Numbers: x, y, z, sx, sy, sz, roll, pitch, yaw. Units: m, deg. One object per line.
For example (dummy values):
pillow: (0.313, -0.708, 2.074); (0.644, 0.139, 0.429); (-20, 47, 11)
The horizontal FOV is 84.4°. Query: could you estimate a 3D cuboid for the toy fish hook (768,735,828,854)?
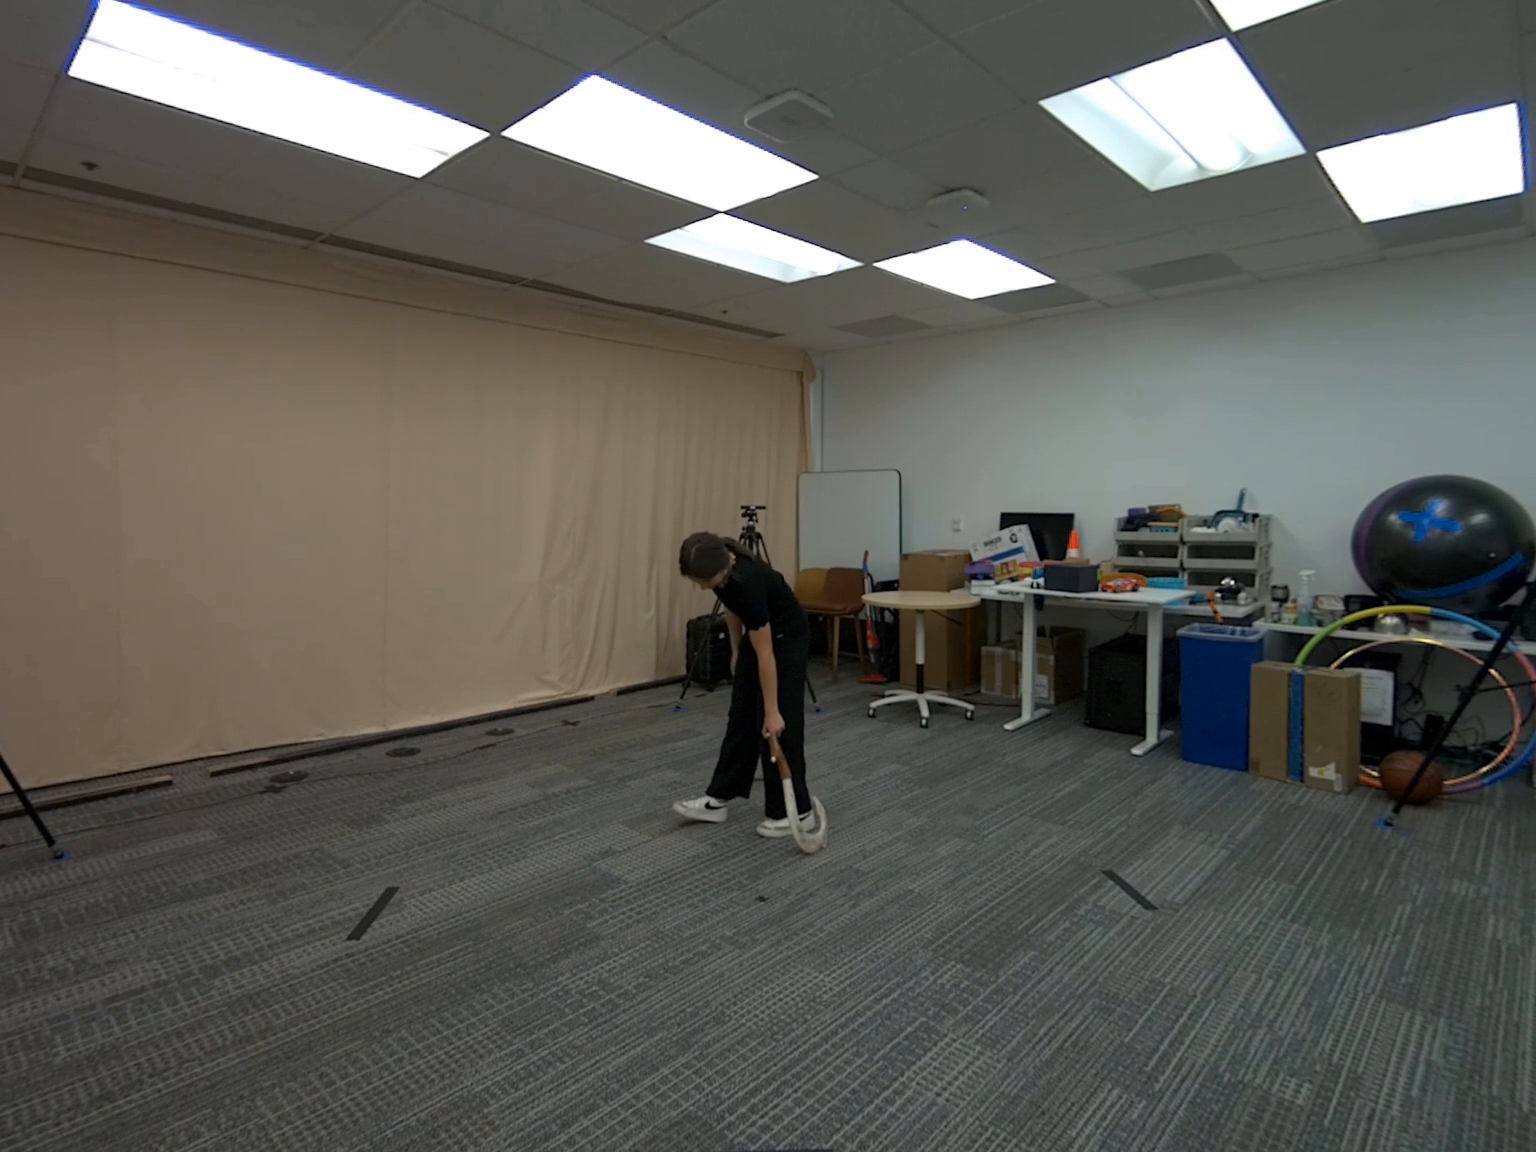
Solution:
toy fish hook: (0.121, 0.867, 3.451); (0.049, 0.512, 0.218); (-26, -14, 35)
